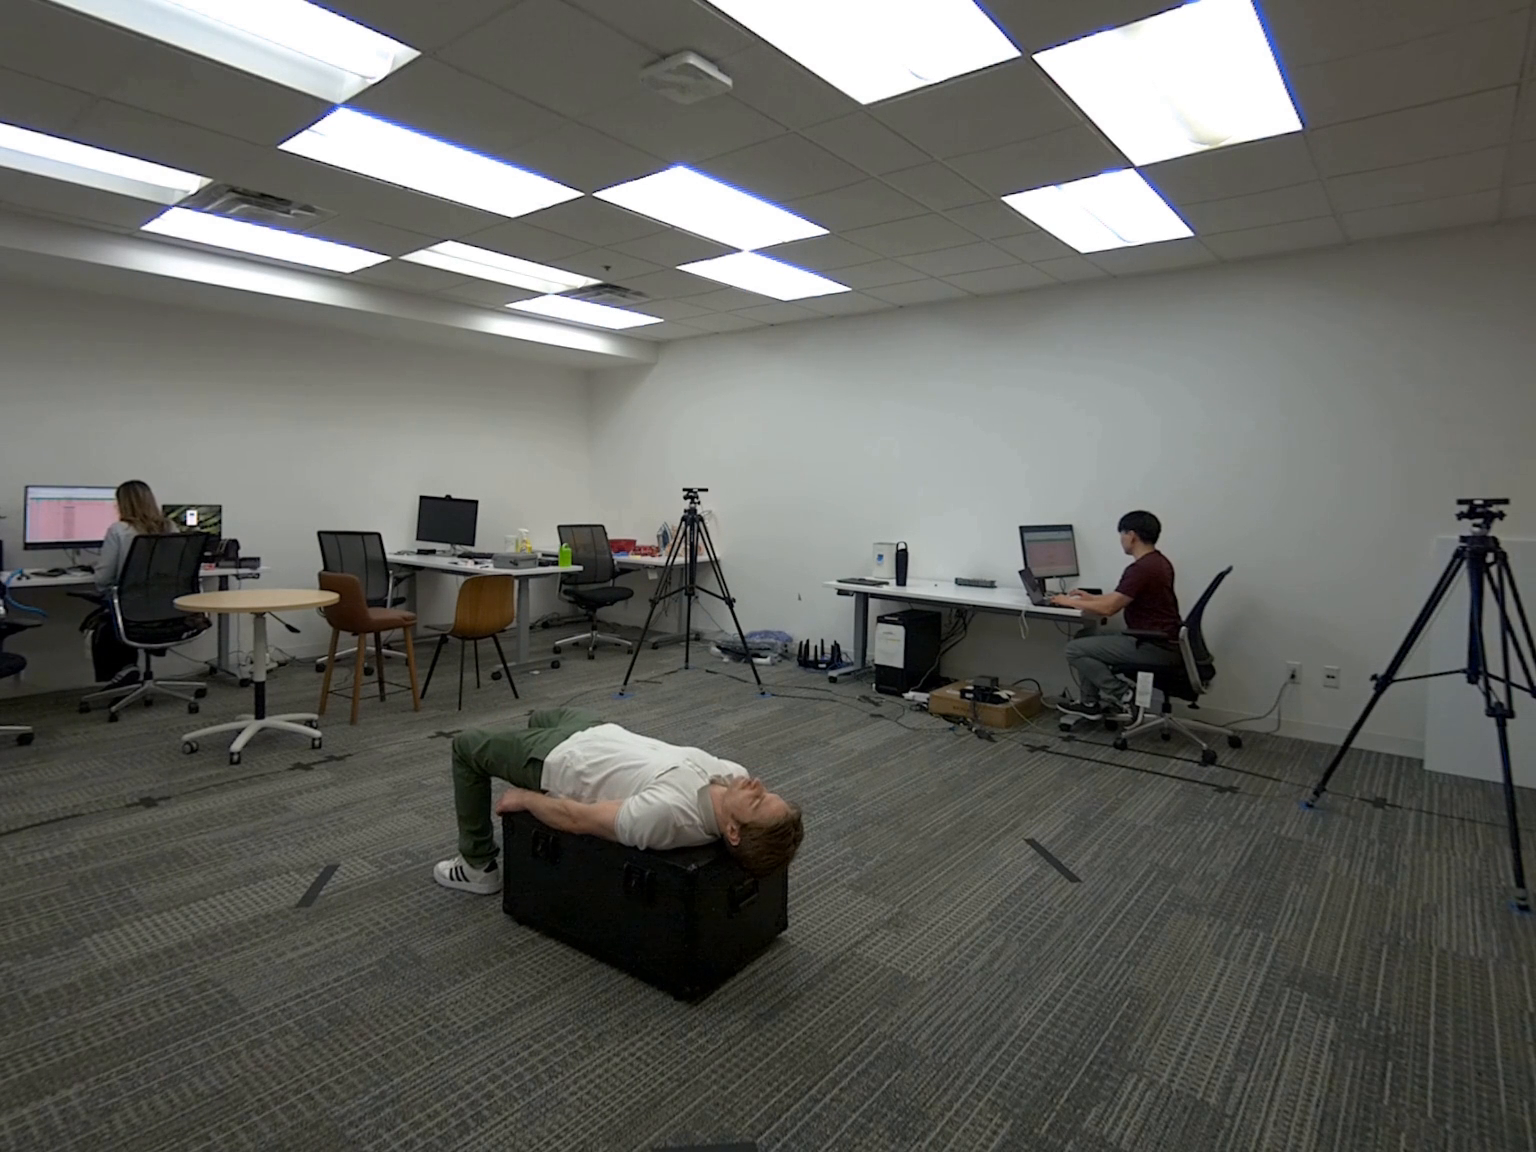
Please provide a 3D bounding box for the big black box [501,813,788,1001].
[{"bbox_3d":[-0.428,0.918,2.703,0.896,0.384,0.509,4,6,36],"label":"big black box"}]
